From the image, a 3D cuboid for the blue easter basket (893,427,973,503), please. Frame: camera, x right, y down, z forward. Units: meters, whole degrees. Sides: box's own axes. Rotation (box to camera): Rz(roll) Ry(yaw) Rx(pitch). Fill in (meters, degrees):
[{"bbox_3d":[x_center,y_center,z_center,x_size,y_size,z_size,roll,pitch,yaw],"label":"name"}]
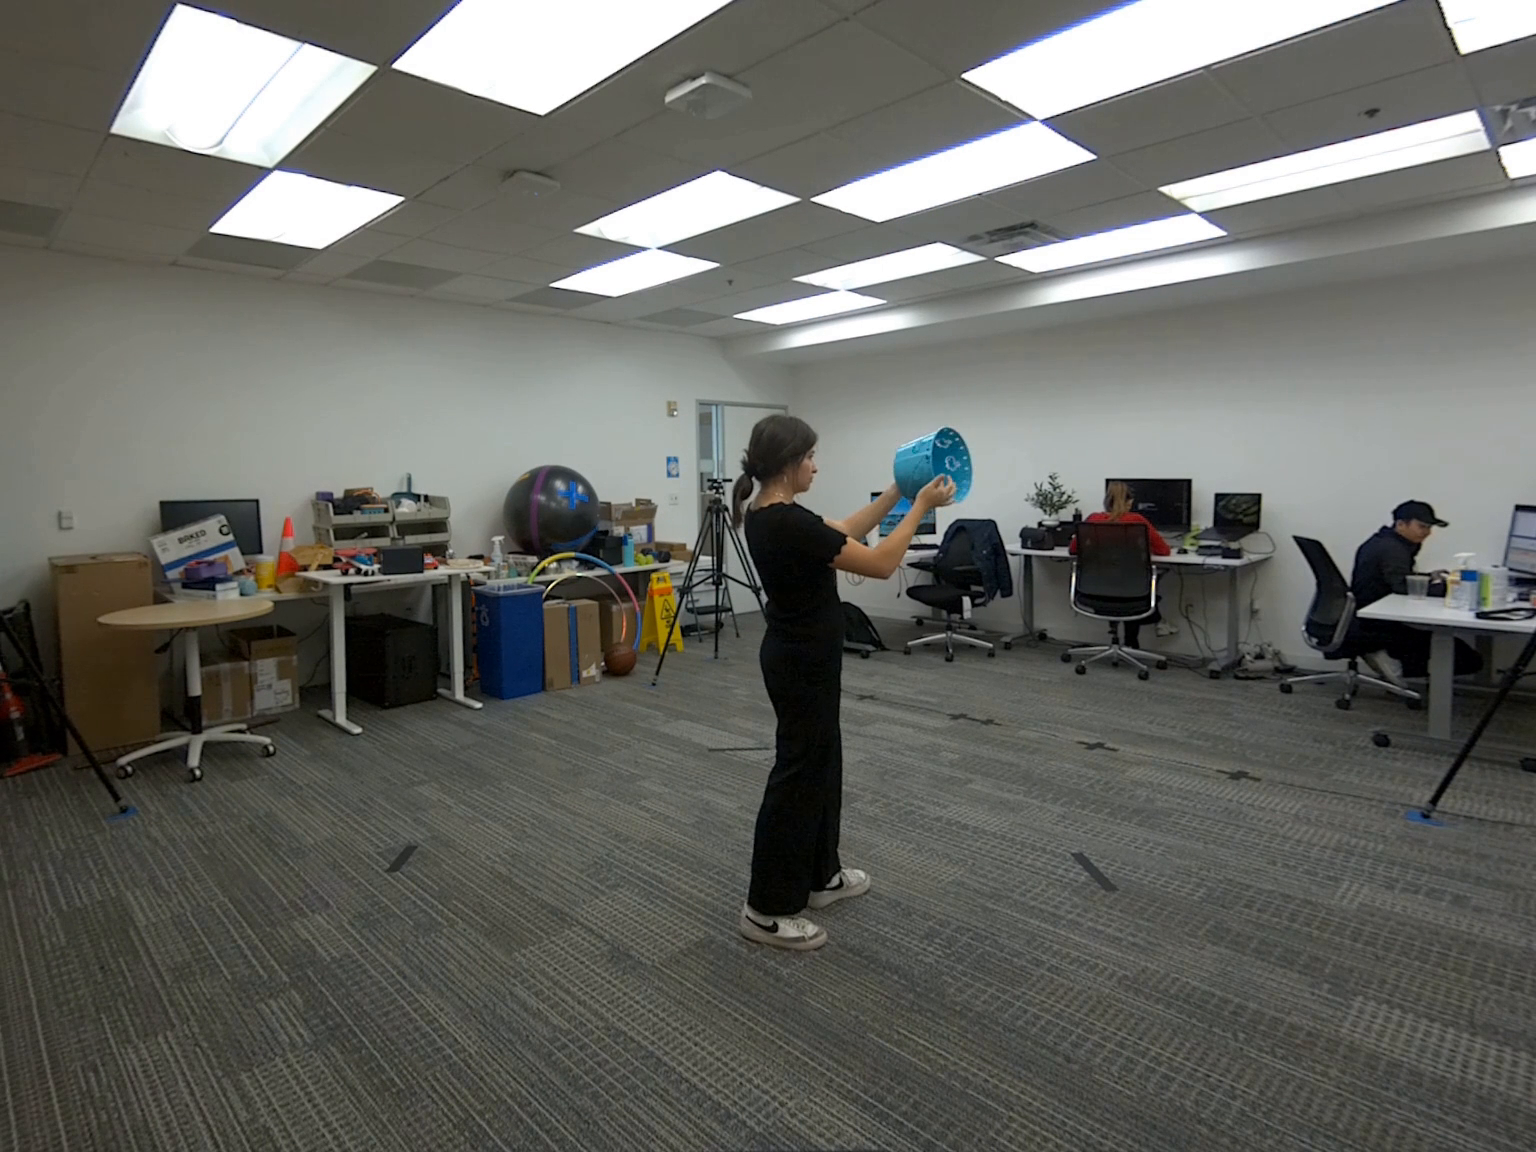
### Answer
[{"bbox_3d":[0.503,-0.325,2.637,0.237,0.244,0.160,-5,-2,-44],"label":"blue easter basket"}]
